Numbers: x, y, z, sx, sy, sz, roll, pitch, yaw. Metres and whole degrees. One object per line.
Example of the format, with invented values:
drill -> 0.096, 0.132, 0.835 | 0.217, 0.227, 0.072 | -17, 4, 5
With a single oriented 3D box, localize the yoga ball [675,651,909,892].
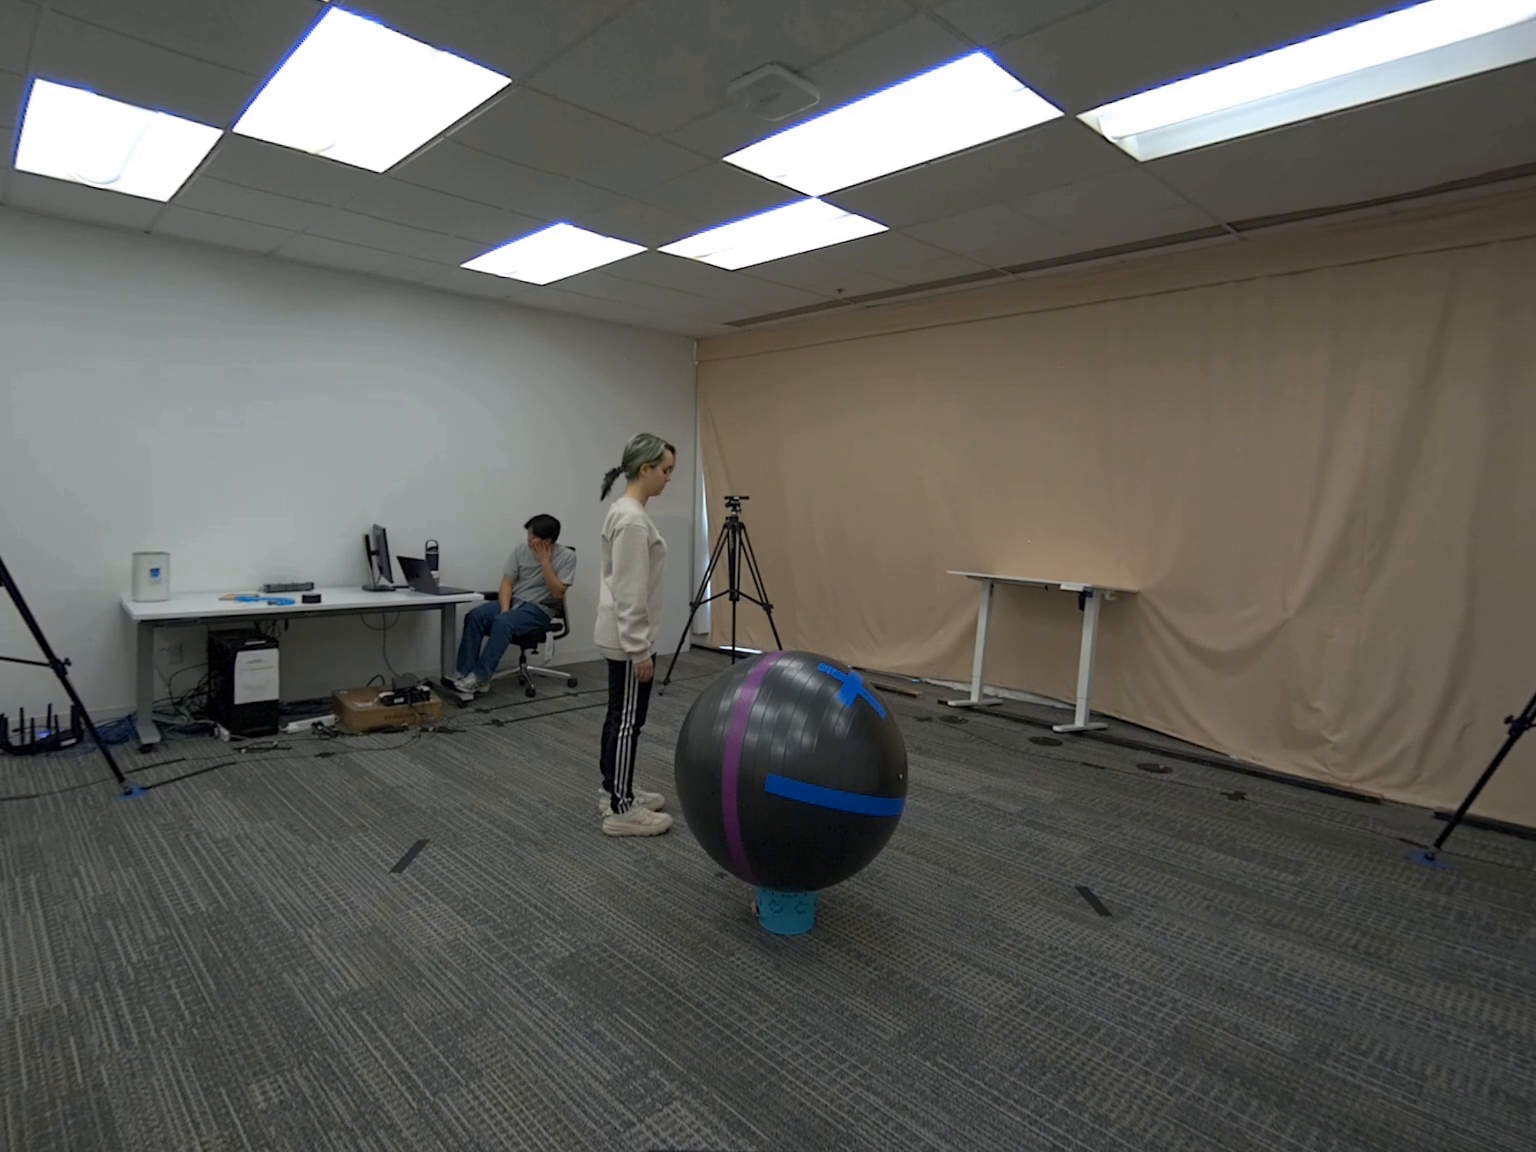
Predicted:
yoga ball -> 0.070, 0.626, 2.756 | 0.757, 0.756, 0.761 | 1, 4, -1
